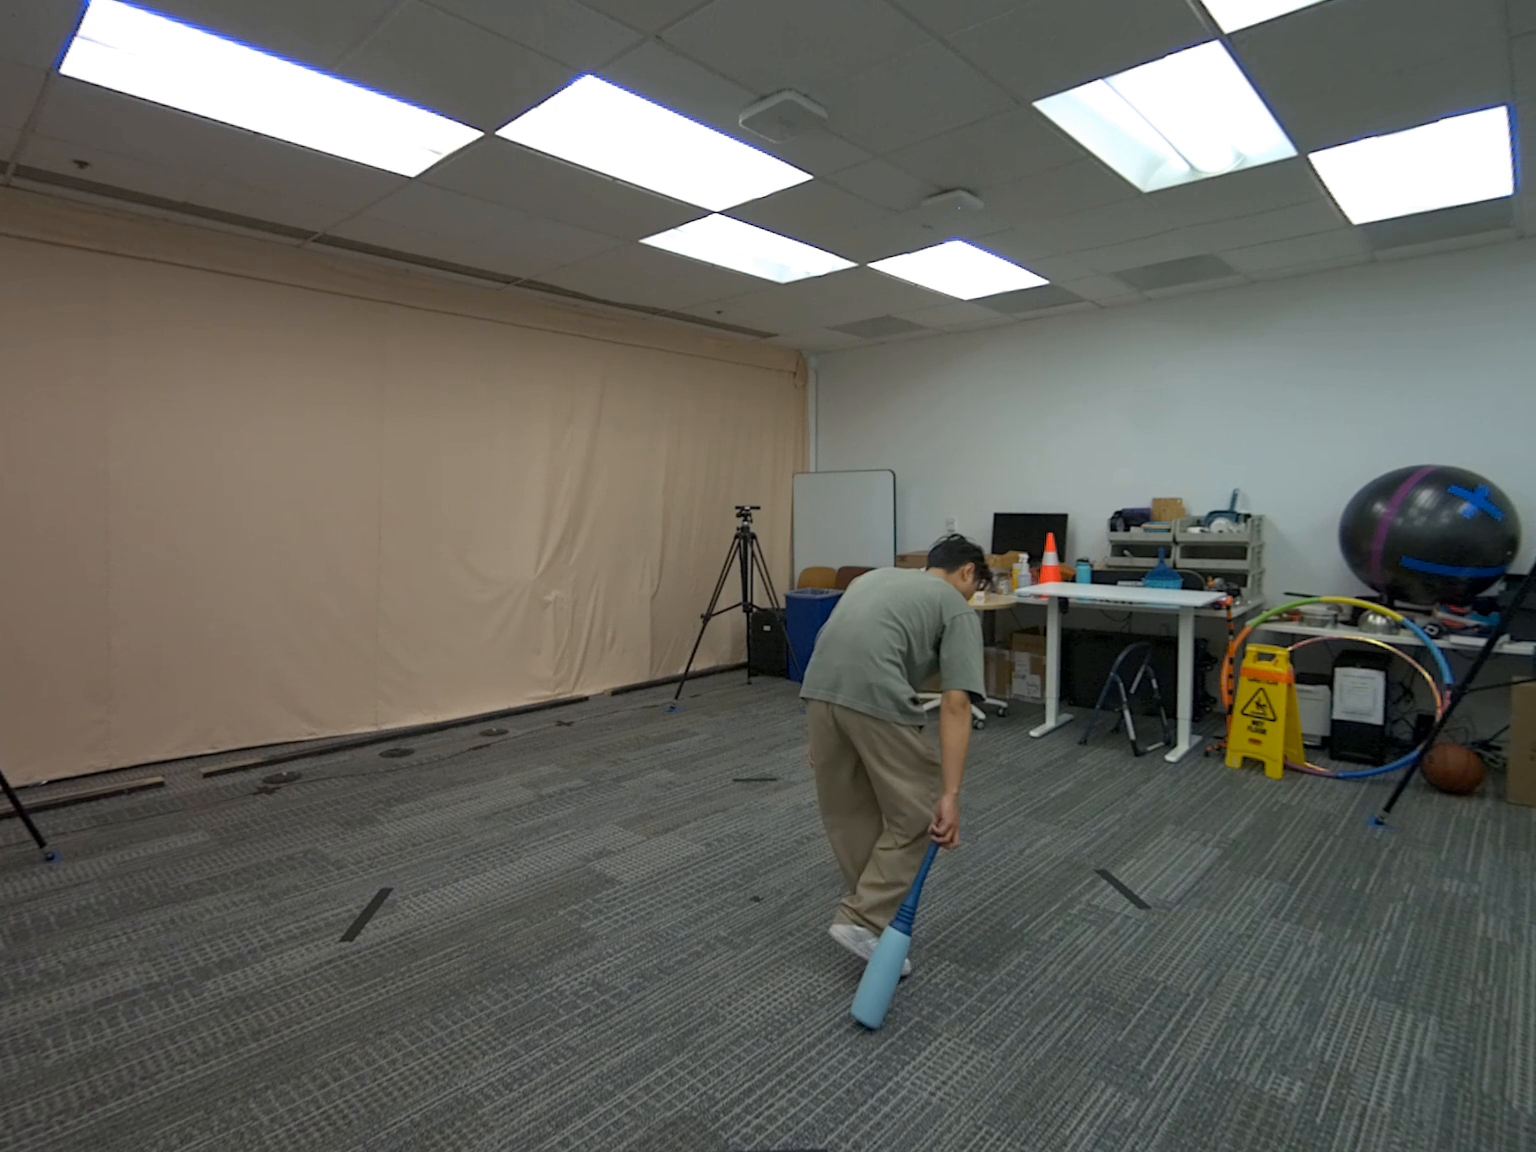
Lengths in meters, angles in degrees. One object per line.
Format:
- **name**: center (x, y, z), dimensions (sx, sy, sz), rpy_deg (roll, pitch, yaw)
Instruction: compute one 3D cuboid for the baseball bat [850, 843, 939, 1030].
- **baseball bat**: center (0.369, 0.953, 2.311), dimensions (0.090, 0.543, 0.088), rpy_deg (25, -14, 5)
